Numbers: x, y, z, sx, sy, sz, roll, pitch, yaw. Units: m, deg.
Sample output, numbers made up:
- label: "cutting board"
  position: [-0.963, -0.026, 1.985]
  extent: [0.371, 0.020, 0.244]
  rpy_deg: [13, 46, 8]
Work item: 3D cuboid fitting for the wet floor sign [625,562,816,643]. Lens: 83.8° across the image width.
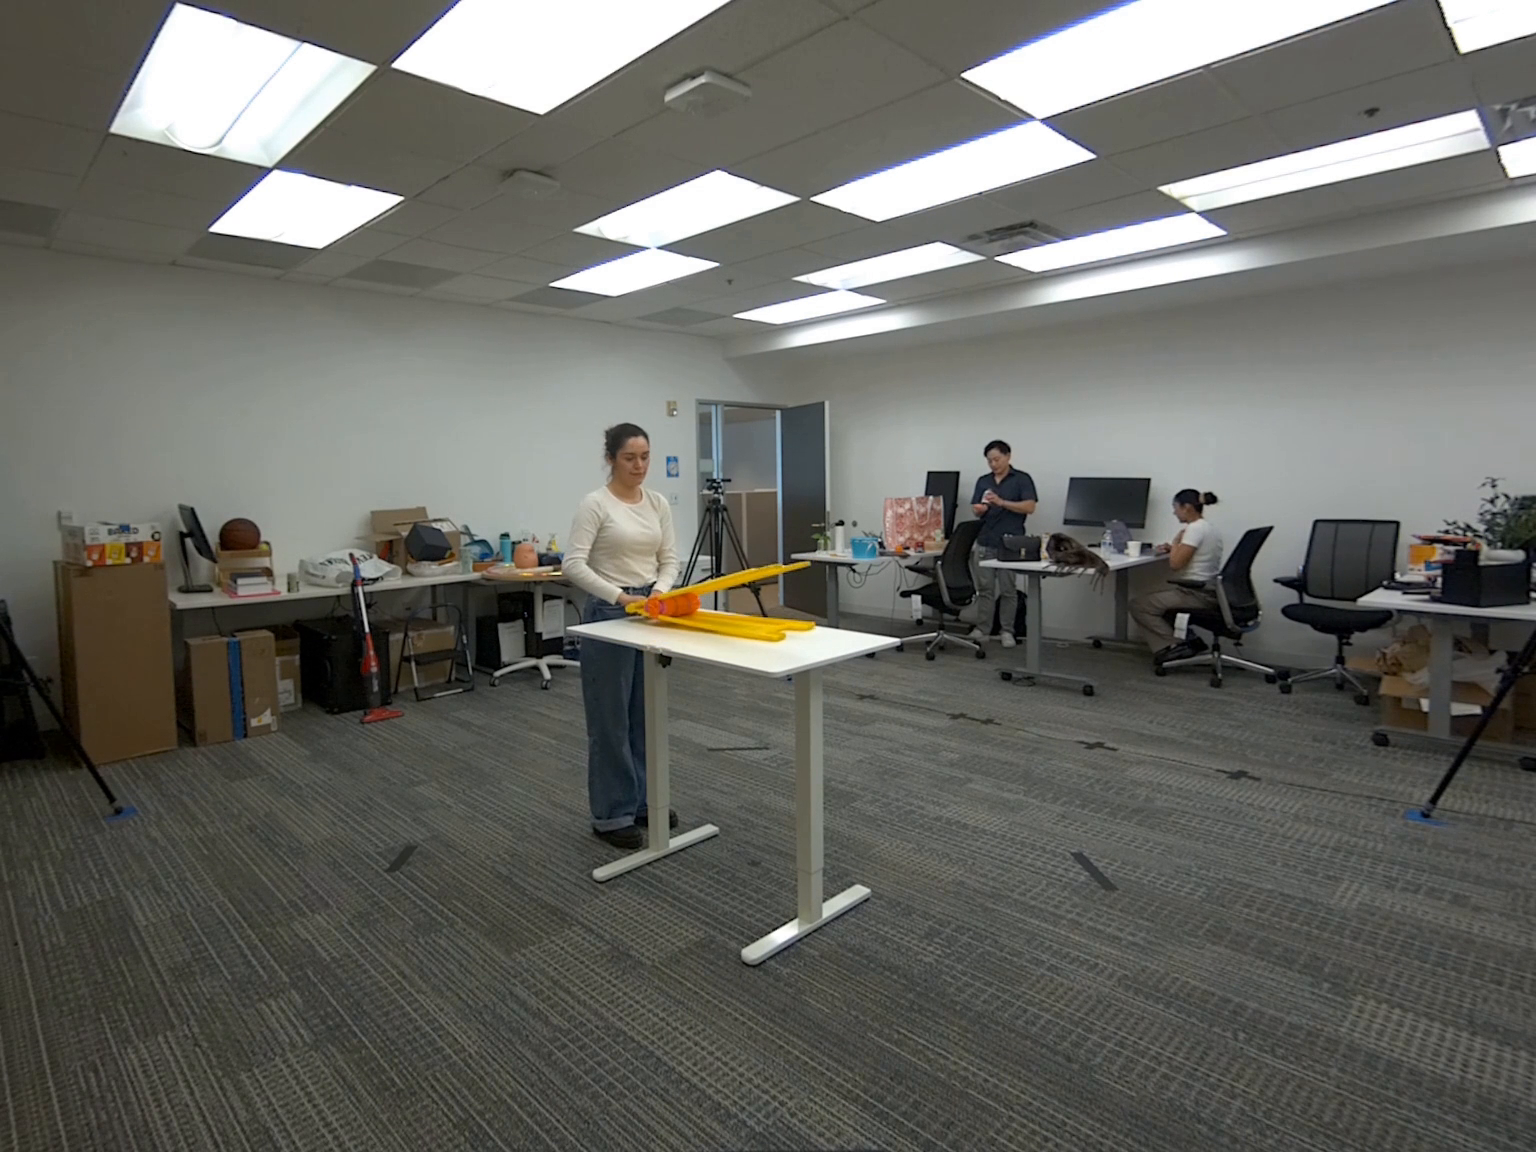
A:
- label: "wet floor sign"
  position: [-0.194, 0.104, 3.000]
  extent: [0.662, 0.290, 0.275]
  rpy_deg: [-4, 0, 33]
